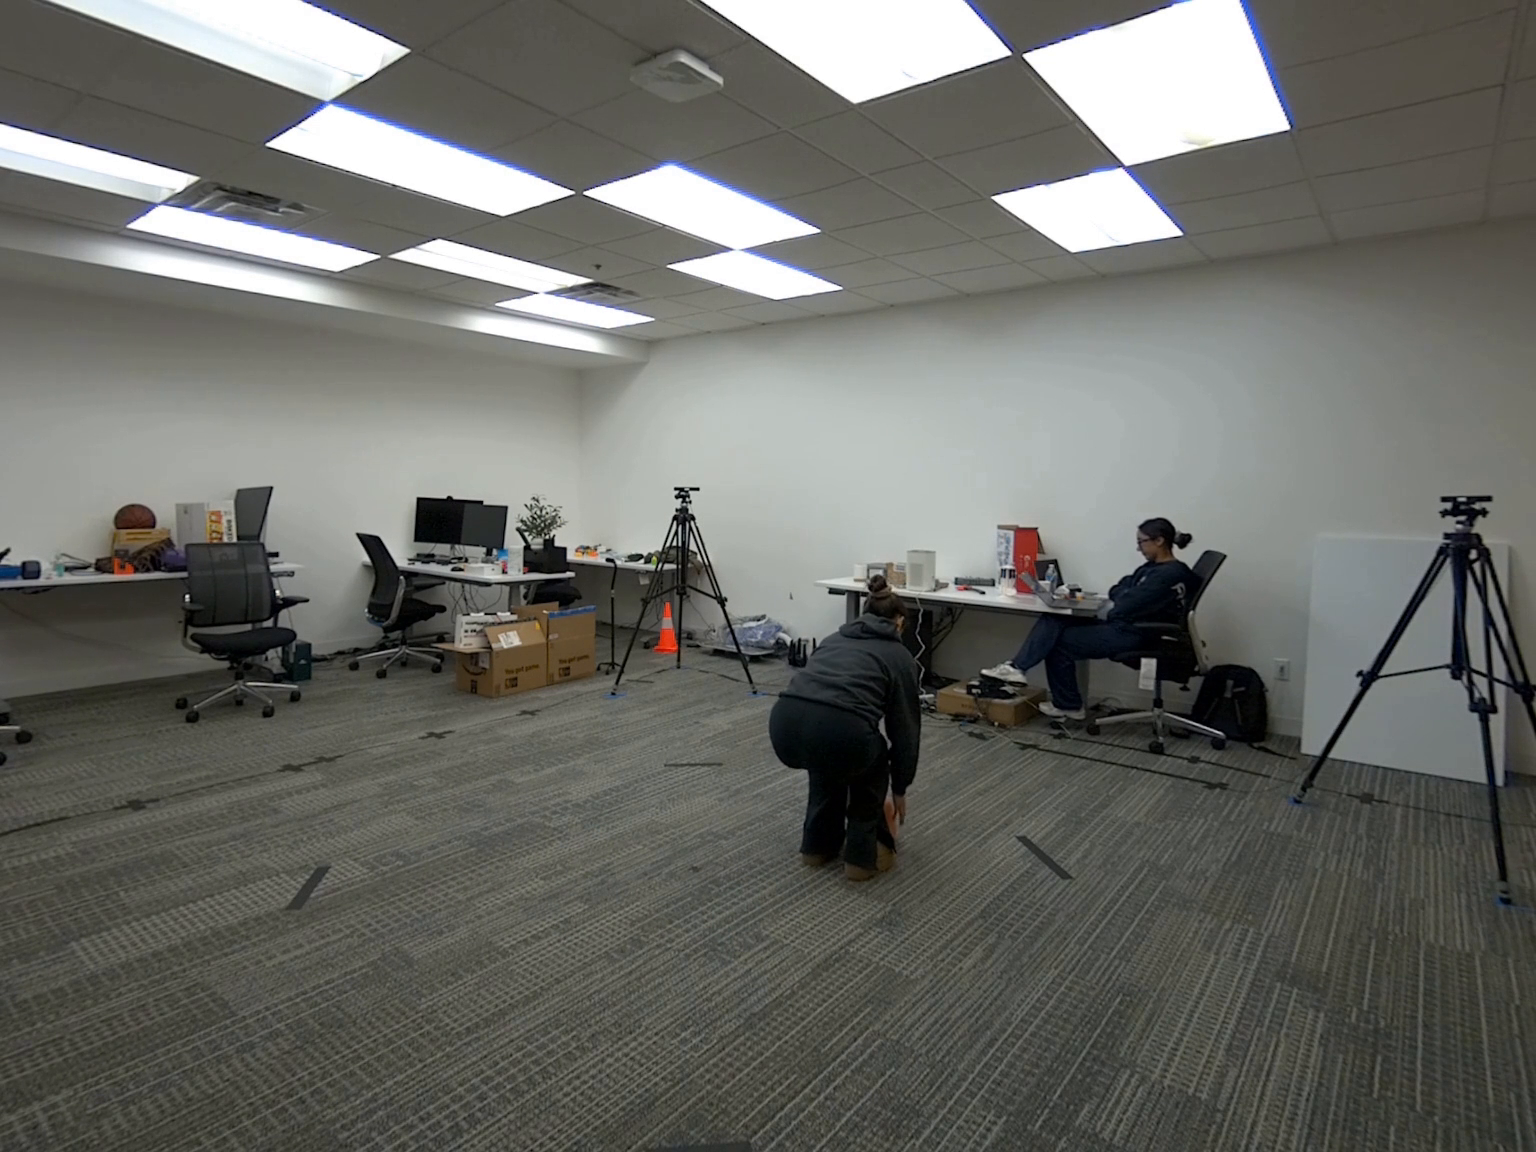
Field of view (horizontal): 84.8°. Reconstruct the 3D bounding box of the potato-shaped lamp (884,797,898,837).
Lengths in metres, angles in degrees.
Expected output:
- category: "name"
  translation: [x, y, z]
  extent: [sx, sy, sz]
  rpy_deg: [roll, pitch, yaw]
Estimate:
- category: "potato-shaped lamp"
  translation: [0.430, 0.944, 3.383]
  extent: [0.170, 0.197, 0.166]
  rpy_deg: [4, 5, 37]
